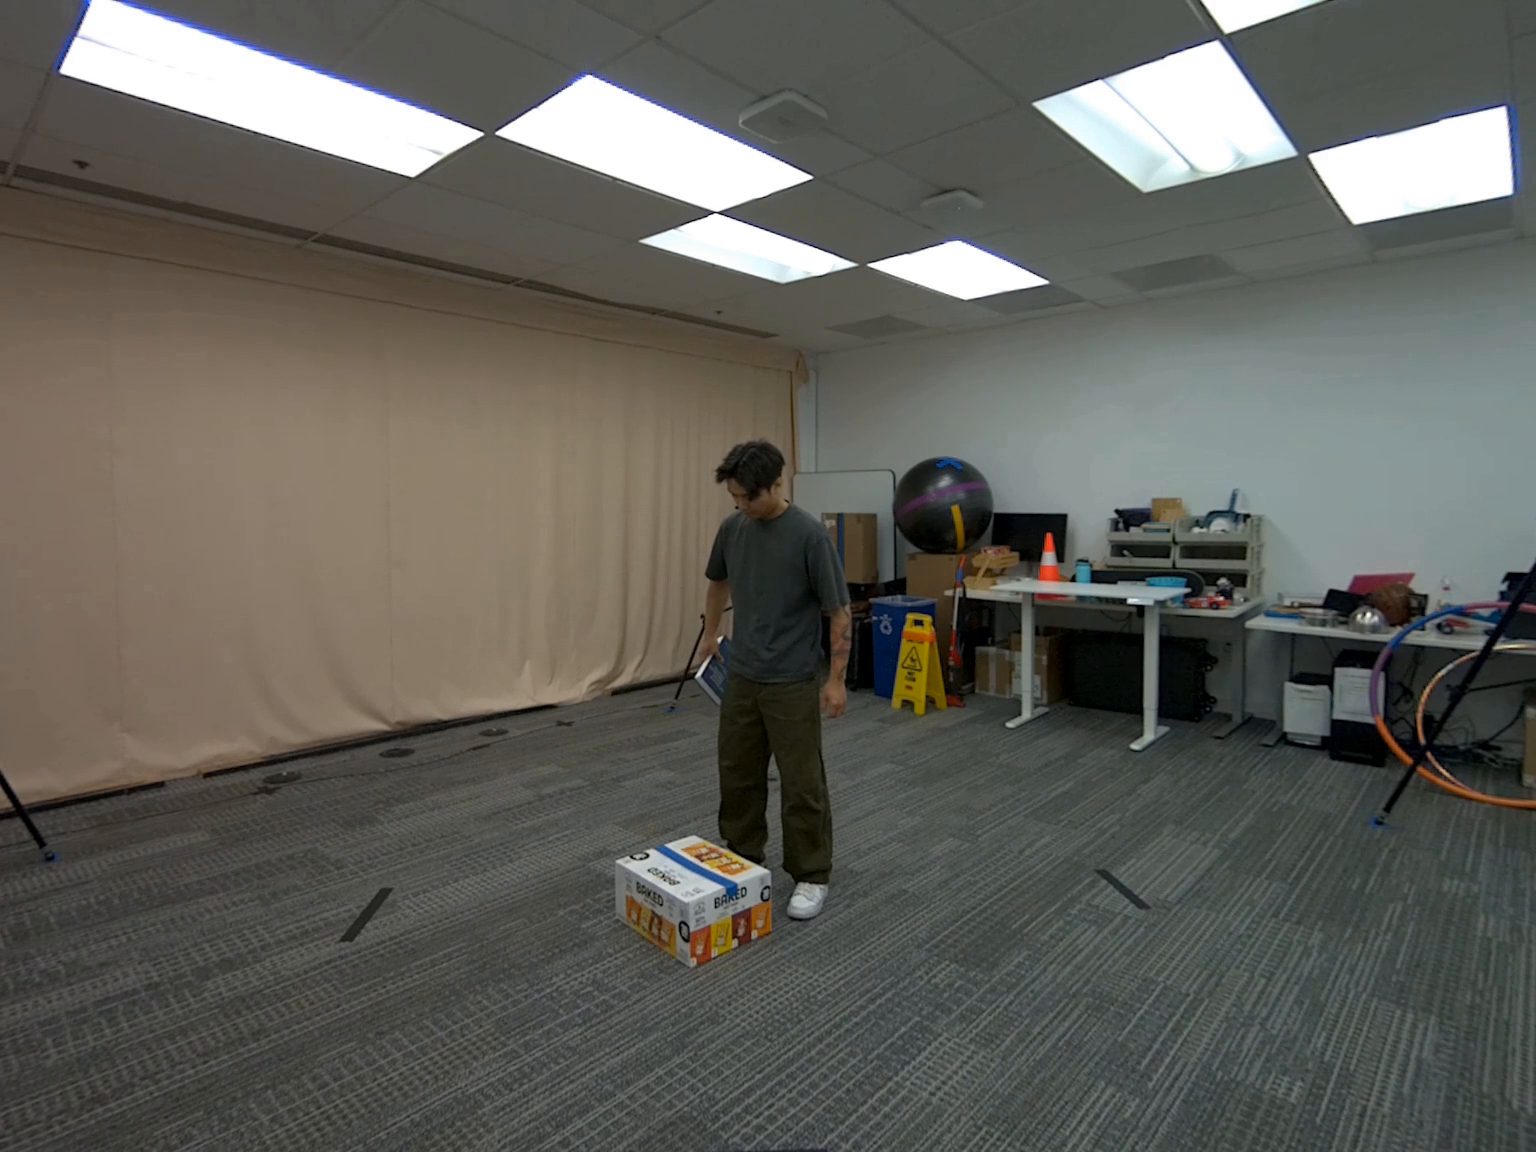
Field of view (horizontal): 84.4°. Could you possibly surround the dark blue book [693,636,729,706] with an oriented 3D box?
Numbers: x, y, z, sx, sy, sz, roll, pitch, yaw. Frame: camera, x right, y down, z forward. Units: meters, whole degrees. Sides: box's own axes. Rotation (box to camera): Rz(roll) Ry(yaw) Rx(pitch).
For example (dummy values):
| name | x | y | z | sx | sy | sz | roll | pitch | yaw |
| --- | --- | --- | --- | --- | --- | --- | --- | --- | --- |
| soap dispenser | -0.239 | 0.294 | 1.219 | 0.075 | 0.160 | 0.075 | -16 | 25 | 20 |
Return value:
| name | x | y | z | sx | sy | sz | roll | pitch | yaw |
| --- | --- | --- | --- | --- | --- | --- | --- | --- | --- |
| dark blue book | -0.182 | 0.377 | 3.375 | 0.046 | 0.160 | 0.245 | -22 | 25 | 39 |
